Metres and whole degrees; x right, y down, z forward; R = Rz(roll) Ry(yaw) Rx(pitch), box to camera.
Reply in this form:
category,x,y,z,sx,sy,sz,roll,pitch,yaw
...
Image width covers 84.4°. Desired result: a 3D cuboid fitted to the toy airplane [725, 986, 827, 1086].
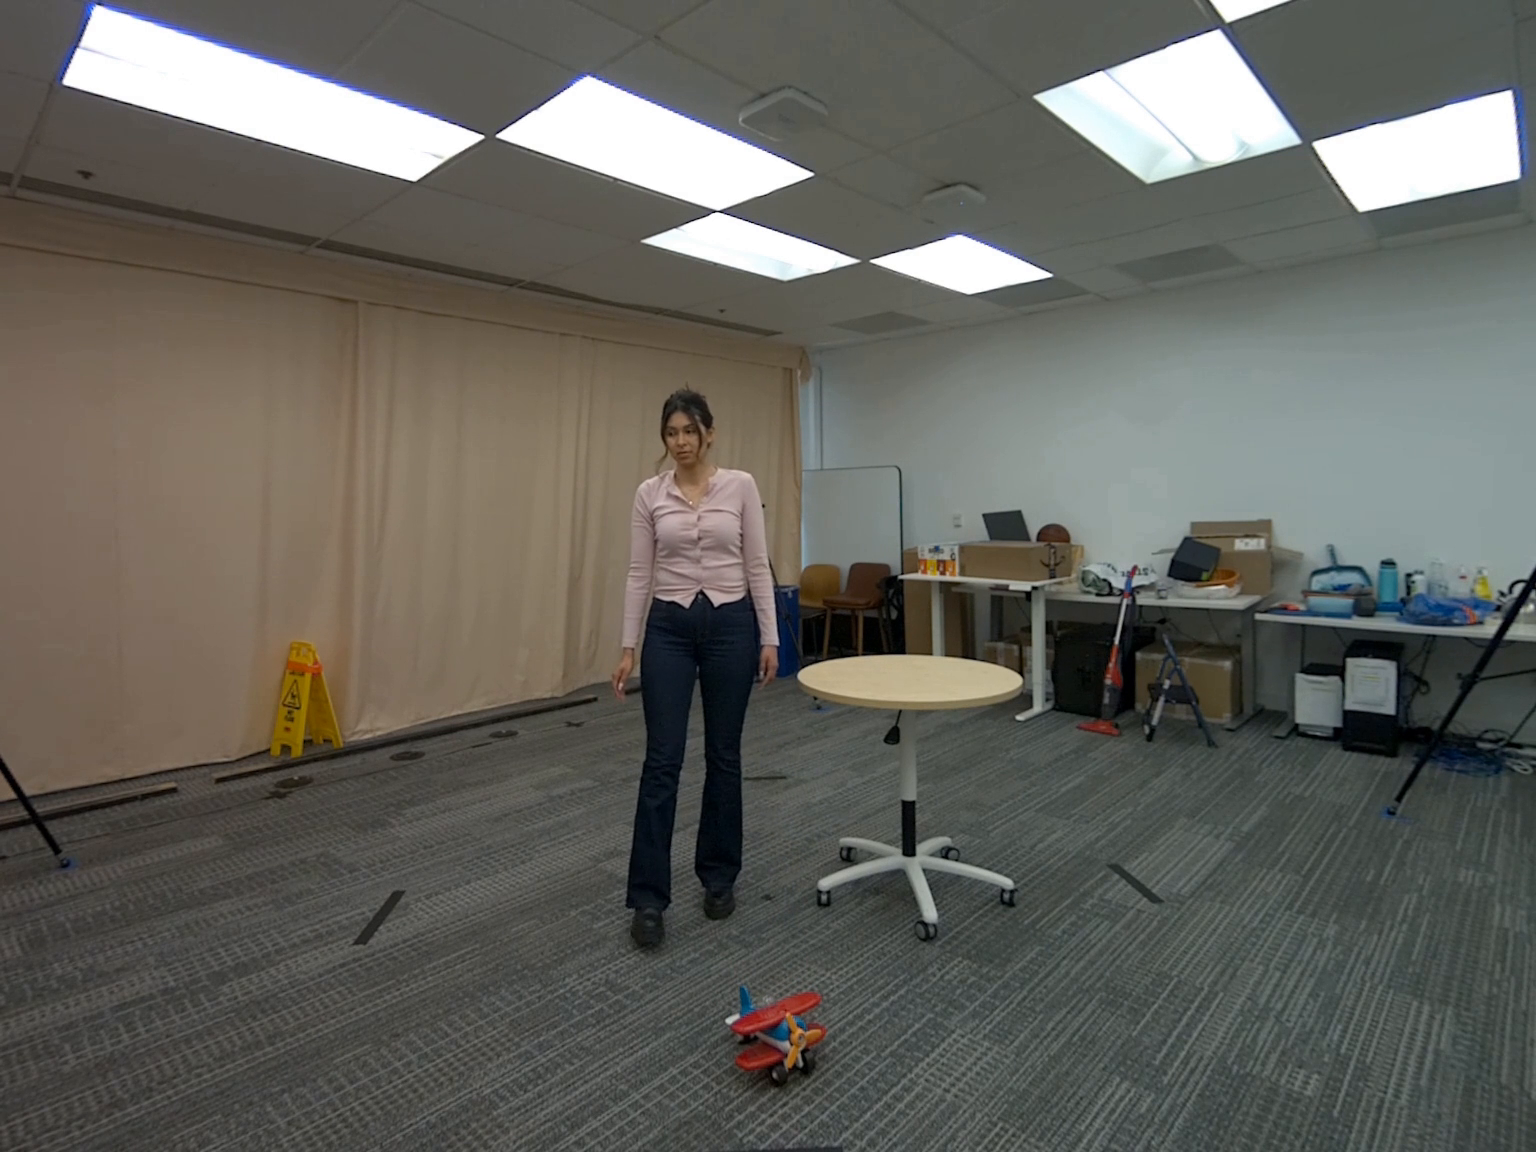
category,x,y,z,sx,sy,sz,roll,pitch,yaw
toy airplane,0.002,1.144,2.097,0.266,0.156,0.245,3,5,28
